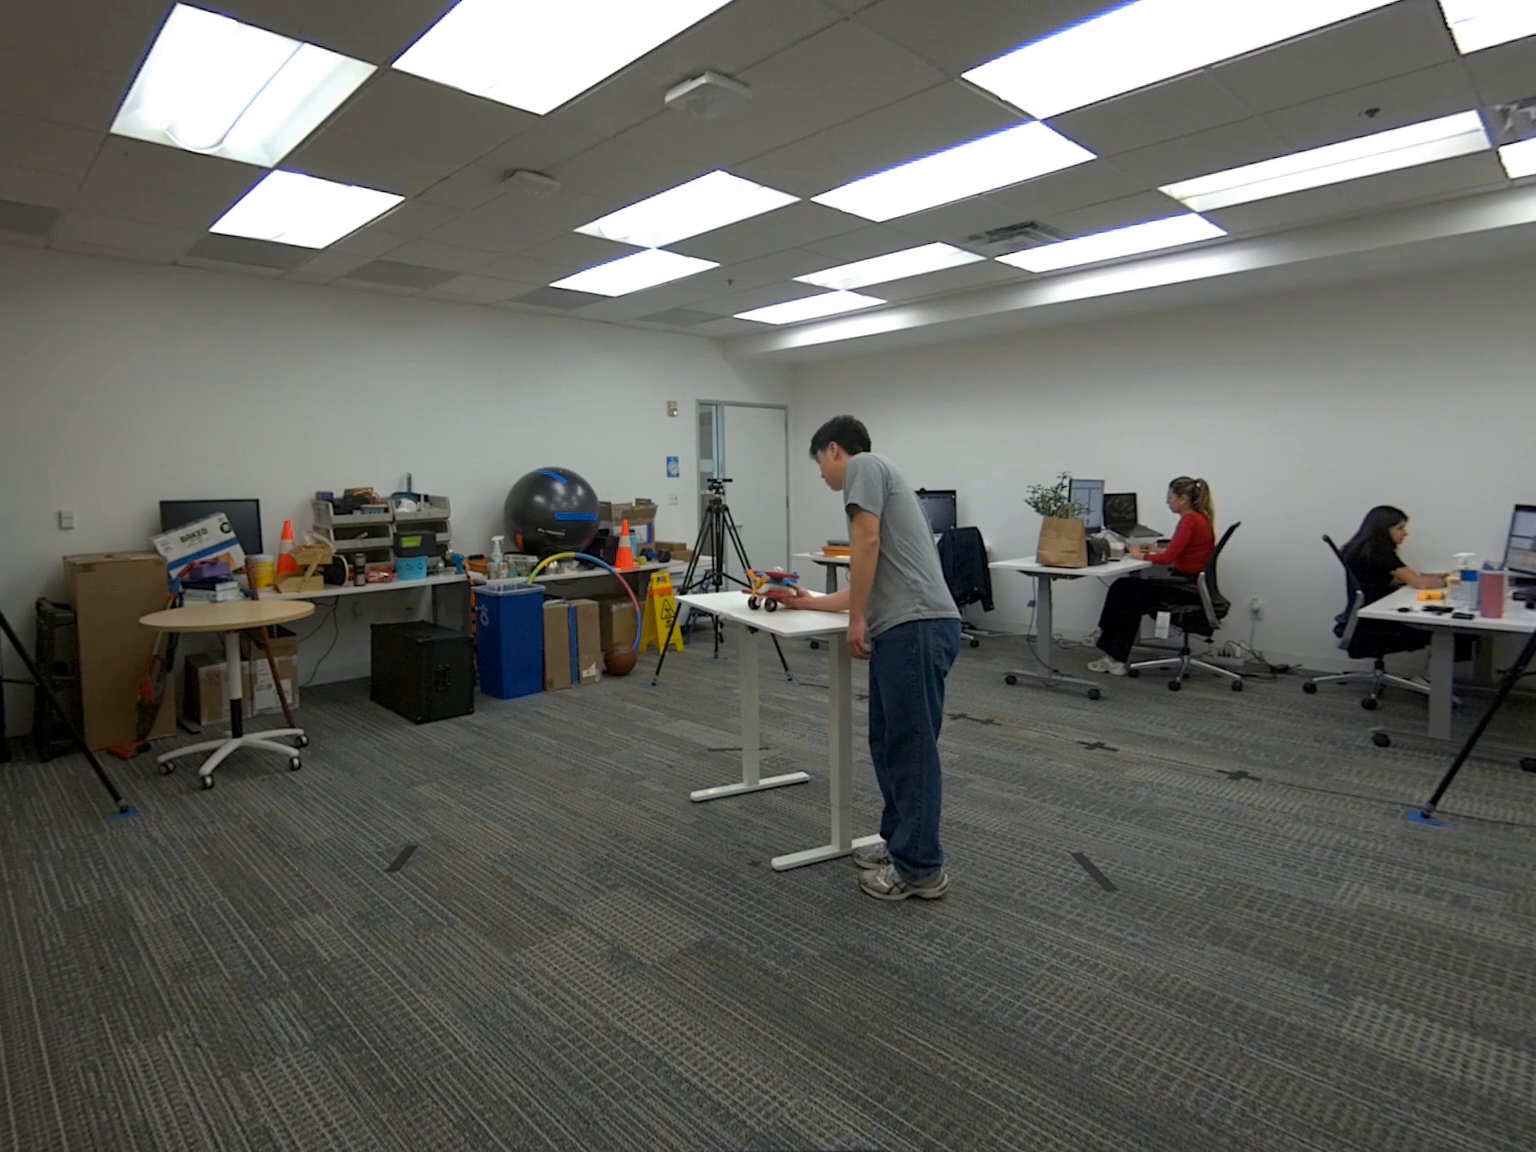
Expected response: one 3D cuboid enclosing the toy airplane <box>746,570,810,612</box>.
[{"bbox_3d":[0.017,0.046,3.410,0.255,0.155,0.257,0,9,15],"label":"toy airplane"}]
